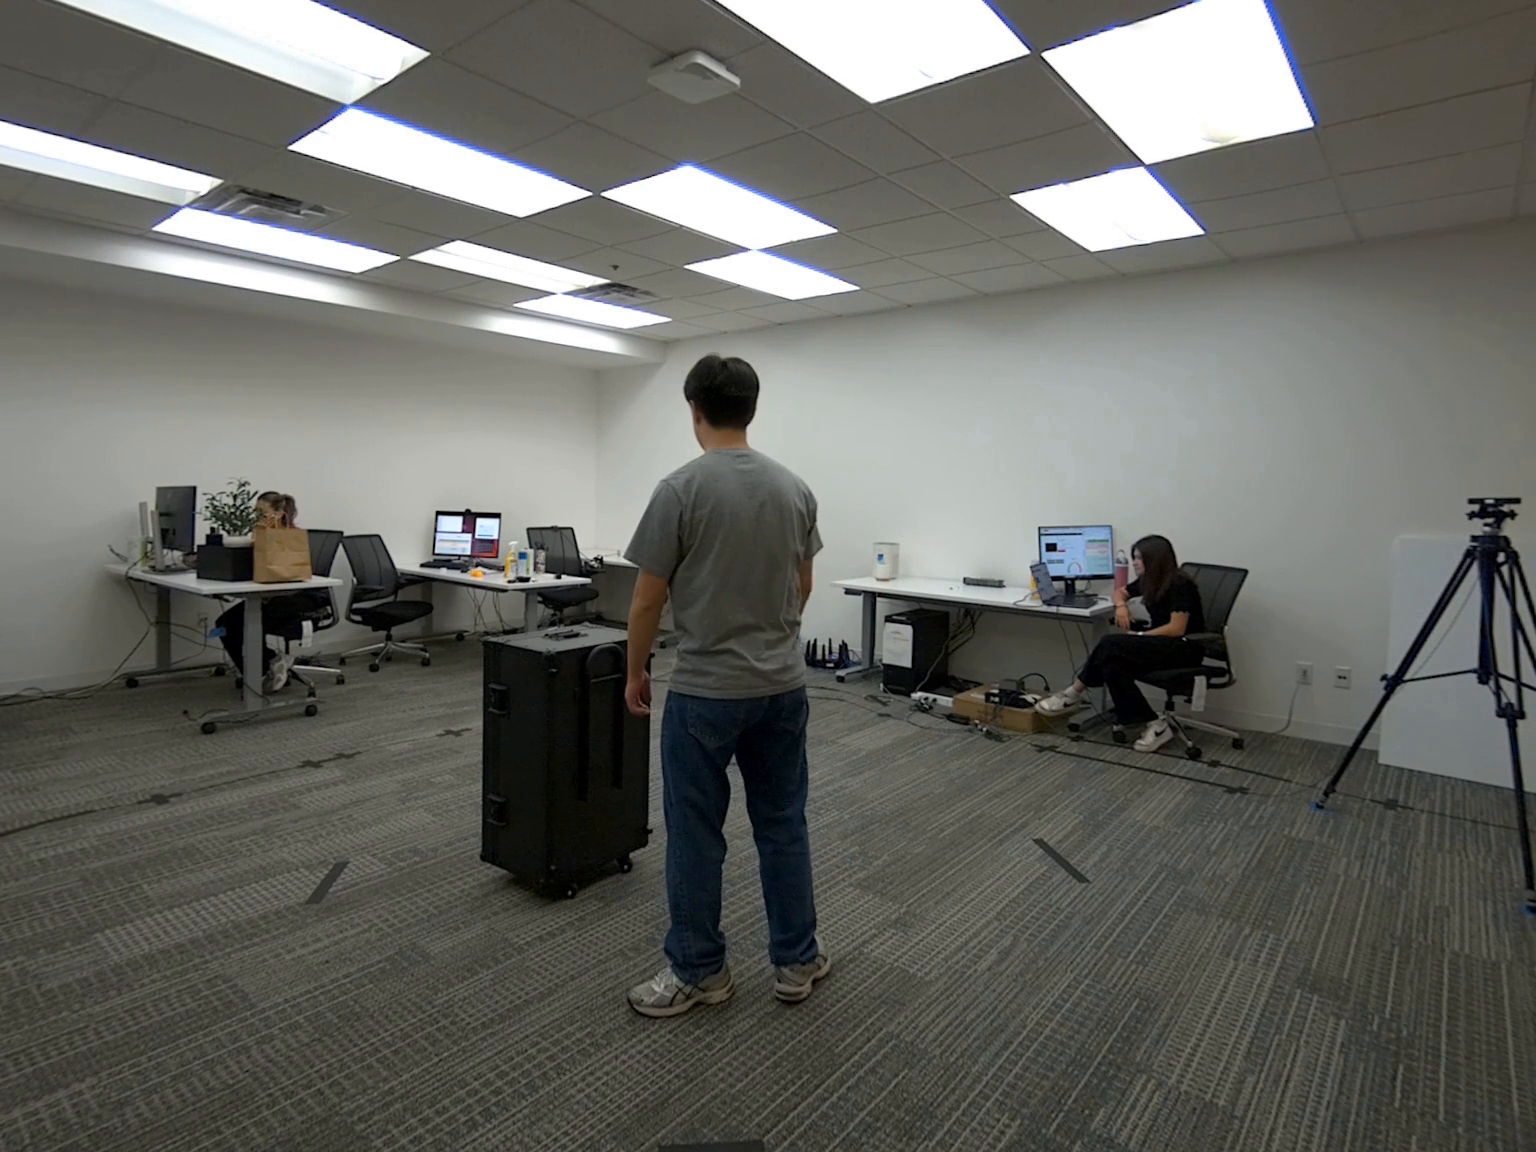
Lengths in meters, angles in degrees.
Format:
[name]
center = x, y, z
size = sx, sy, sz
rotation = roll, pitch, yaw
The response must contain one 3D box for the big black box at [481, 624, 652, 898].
[big black box]
center = -0.719, 0.638, 3.032
size = 0.409, 0.859, 0.506
rotation = 5, 5, 37
